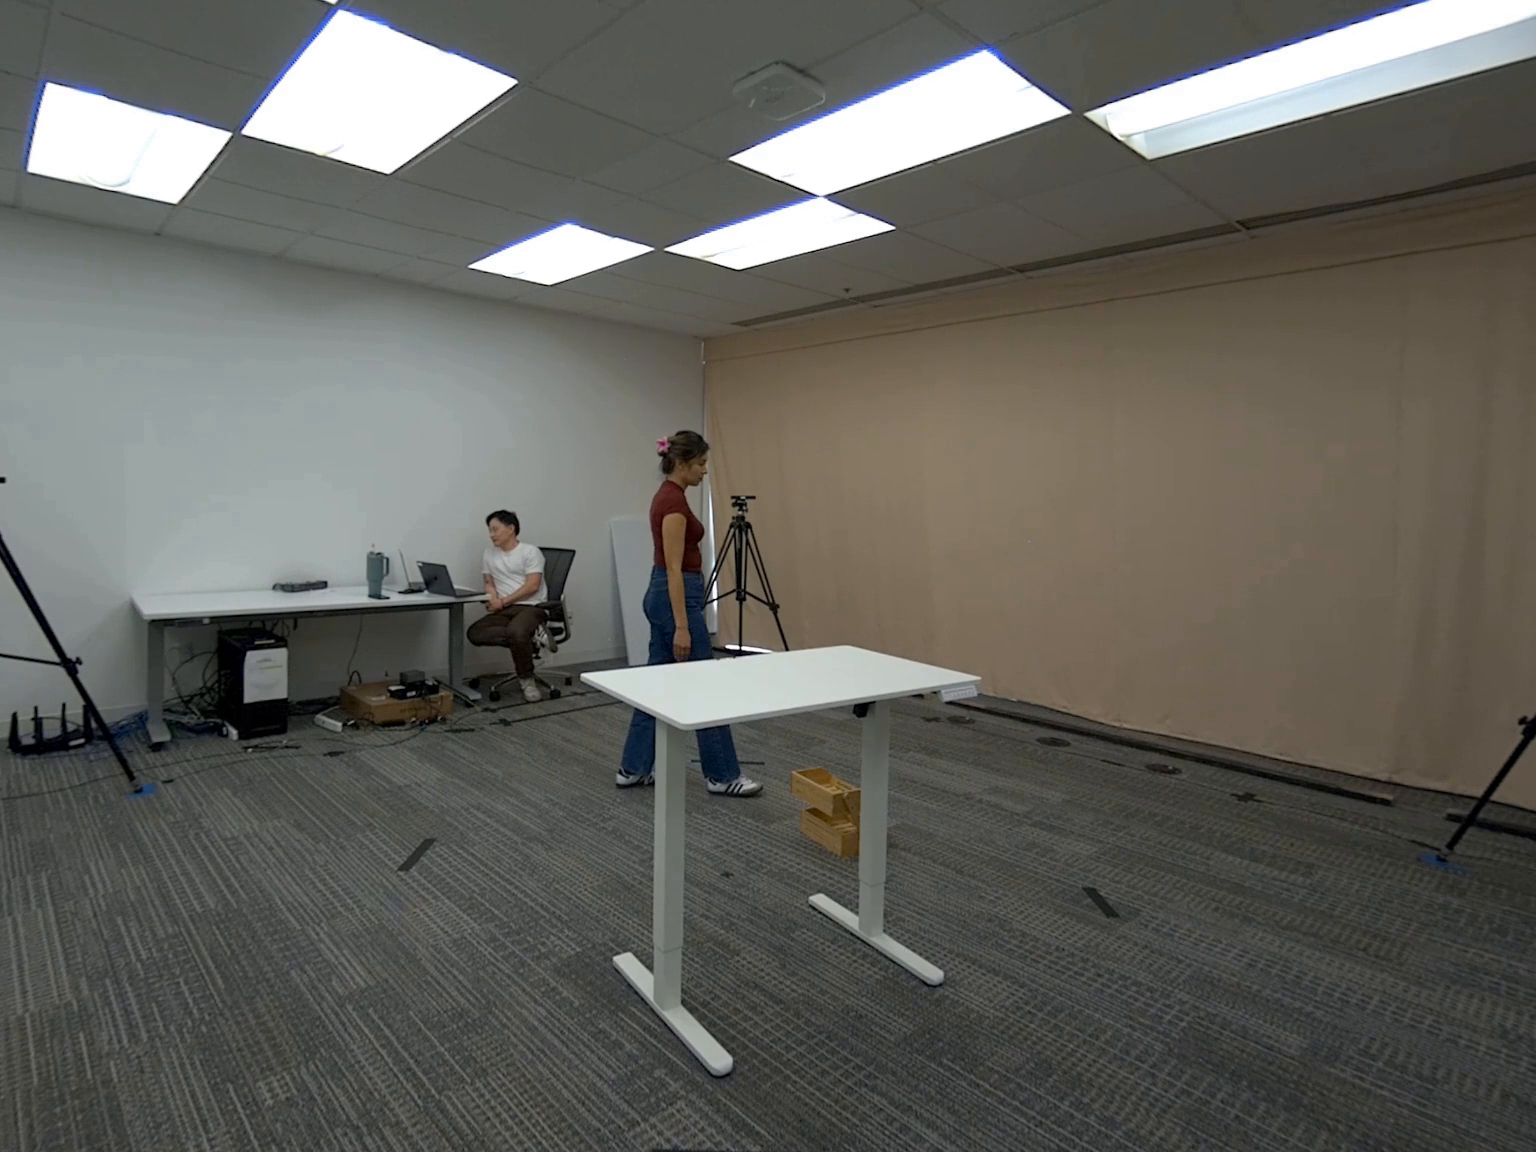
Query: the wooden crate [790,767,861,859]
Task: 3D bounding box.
[{"bbox_3d":[0.292,0.947,3.446,0.296,0.272,0.332,-1,5,-30],"label":"wooden crate"}]
